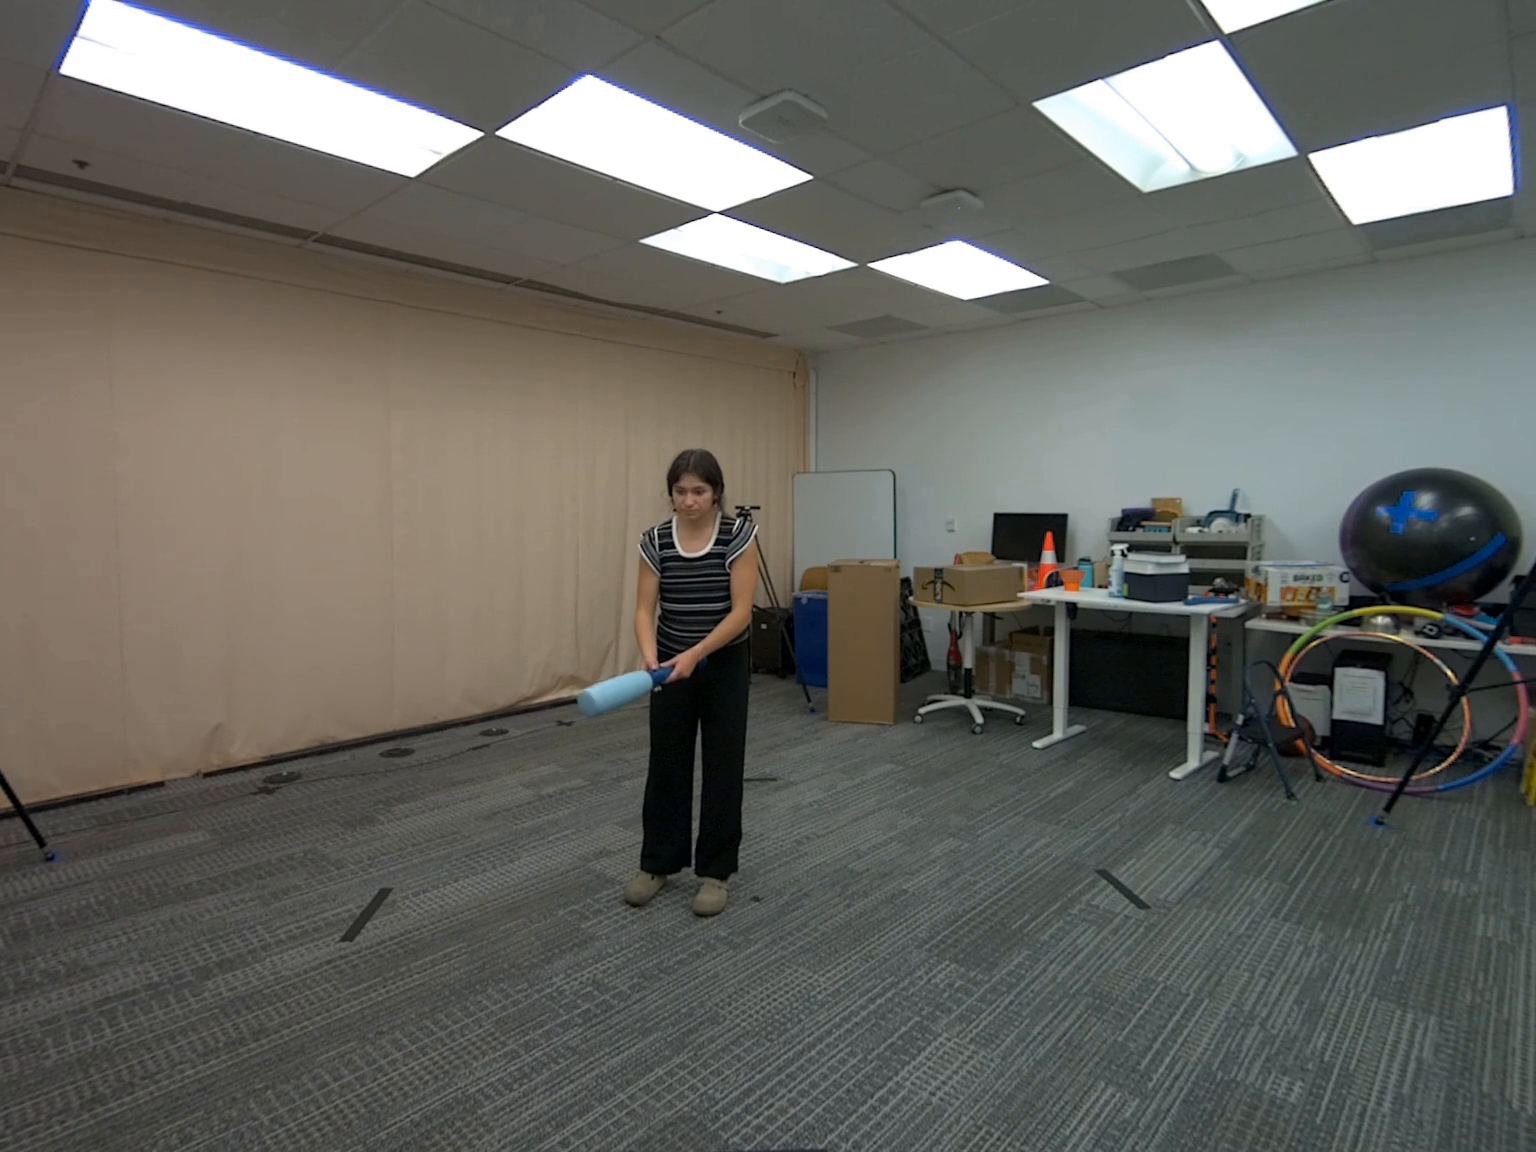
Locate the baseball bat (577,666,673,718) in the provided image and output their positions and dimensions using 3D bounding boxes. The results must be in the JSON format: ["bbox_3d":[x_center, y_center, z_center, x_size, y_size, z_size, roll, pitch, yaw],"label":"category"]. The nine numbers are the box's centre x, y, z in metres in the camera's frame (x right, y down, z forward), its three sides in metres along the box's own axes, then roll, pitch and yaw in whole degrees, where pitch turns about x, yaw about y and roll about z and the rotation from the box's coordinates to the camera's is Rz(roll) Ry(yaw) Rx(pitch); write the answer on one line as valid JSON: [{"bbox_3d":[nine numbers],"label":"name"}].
[{"bbox_3d":[-0.369,0.338,2.620,0.092,0.088,0.529,2,12,34],"label":"baseball bat"}]
